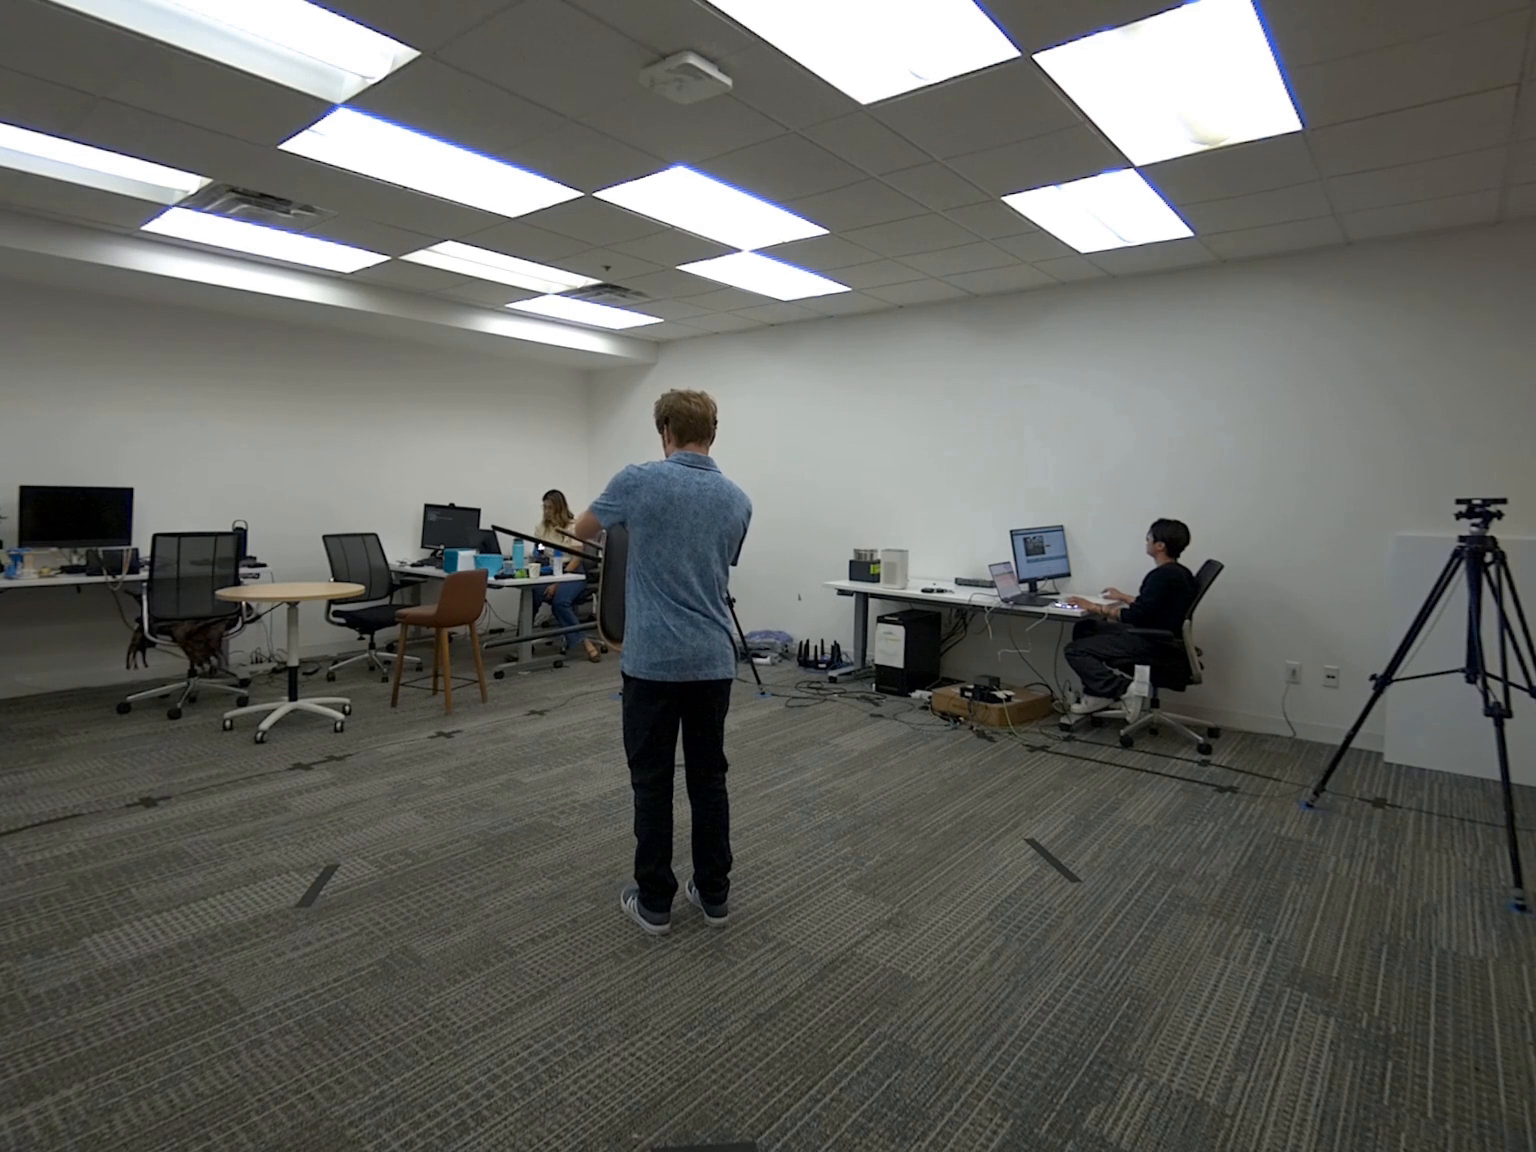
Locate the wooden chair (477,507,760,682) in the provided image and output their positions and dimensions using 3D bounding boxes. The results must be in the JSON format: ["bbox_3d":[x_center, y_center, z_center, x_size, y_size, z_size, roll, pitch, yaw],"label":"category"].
[{"bbox_3d":[-0.557,0.065,3.167,0.899,0.522,0.468,9,4,21],"label":"wooden chair"}]
